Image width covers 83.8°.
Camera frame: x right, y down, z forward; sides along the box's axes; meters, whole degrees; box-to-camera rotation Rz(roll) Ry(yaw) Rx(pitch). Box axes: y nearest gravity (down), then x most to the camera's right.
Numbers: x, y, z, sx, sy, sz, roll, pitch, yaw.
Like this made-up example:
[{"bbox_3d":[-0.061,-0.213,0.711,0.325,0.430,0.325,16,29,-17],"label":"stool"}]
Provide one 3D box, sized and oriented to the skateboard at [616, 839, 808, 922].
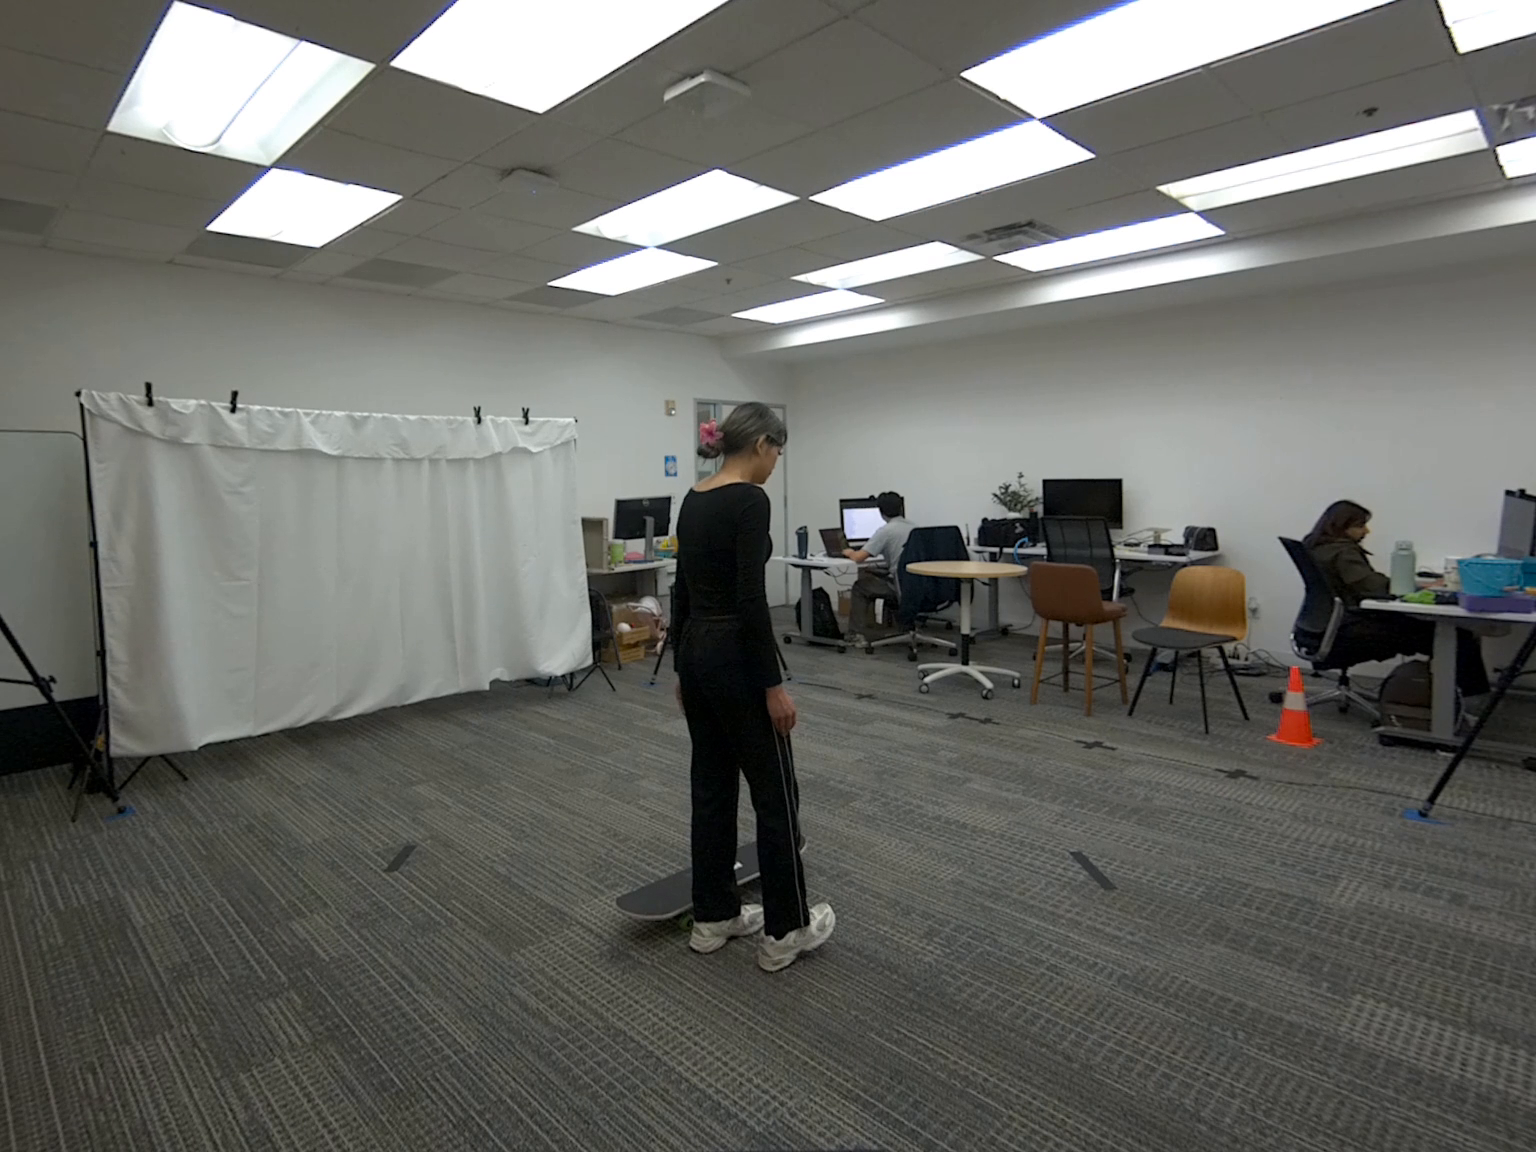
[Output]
[{"bbox_3d":[-0.164,1.020,2.834,0.765,0.110,0.199,-7,8,-43],"label":"skateboard"}]
